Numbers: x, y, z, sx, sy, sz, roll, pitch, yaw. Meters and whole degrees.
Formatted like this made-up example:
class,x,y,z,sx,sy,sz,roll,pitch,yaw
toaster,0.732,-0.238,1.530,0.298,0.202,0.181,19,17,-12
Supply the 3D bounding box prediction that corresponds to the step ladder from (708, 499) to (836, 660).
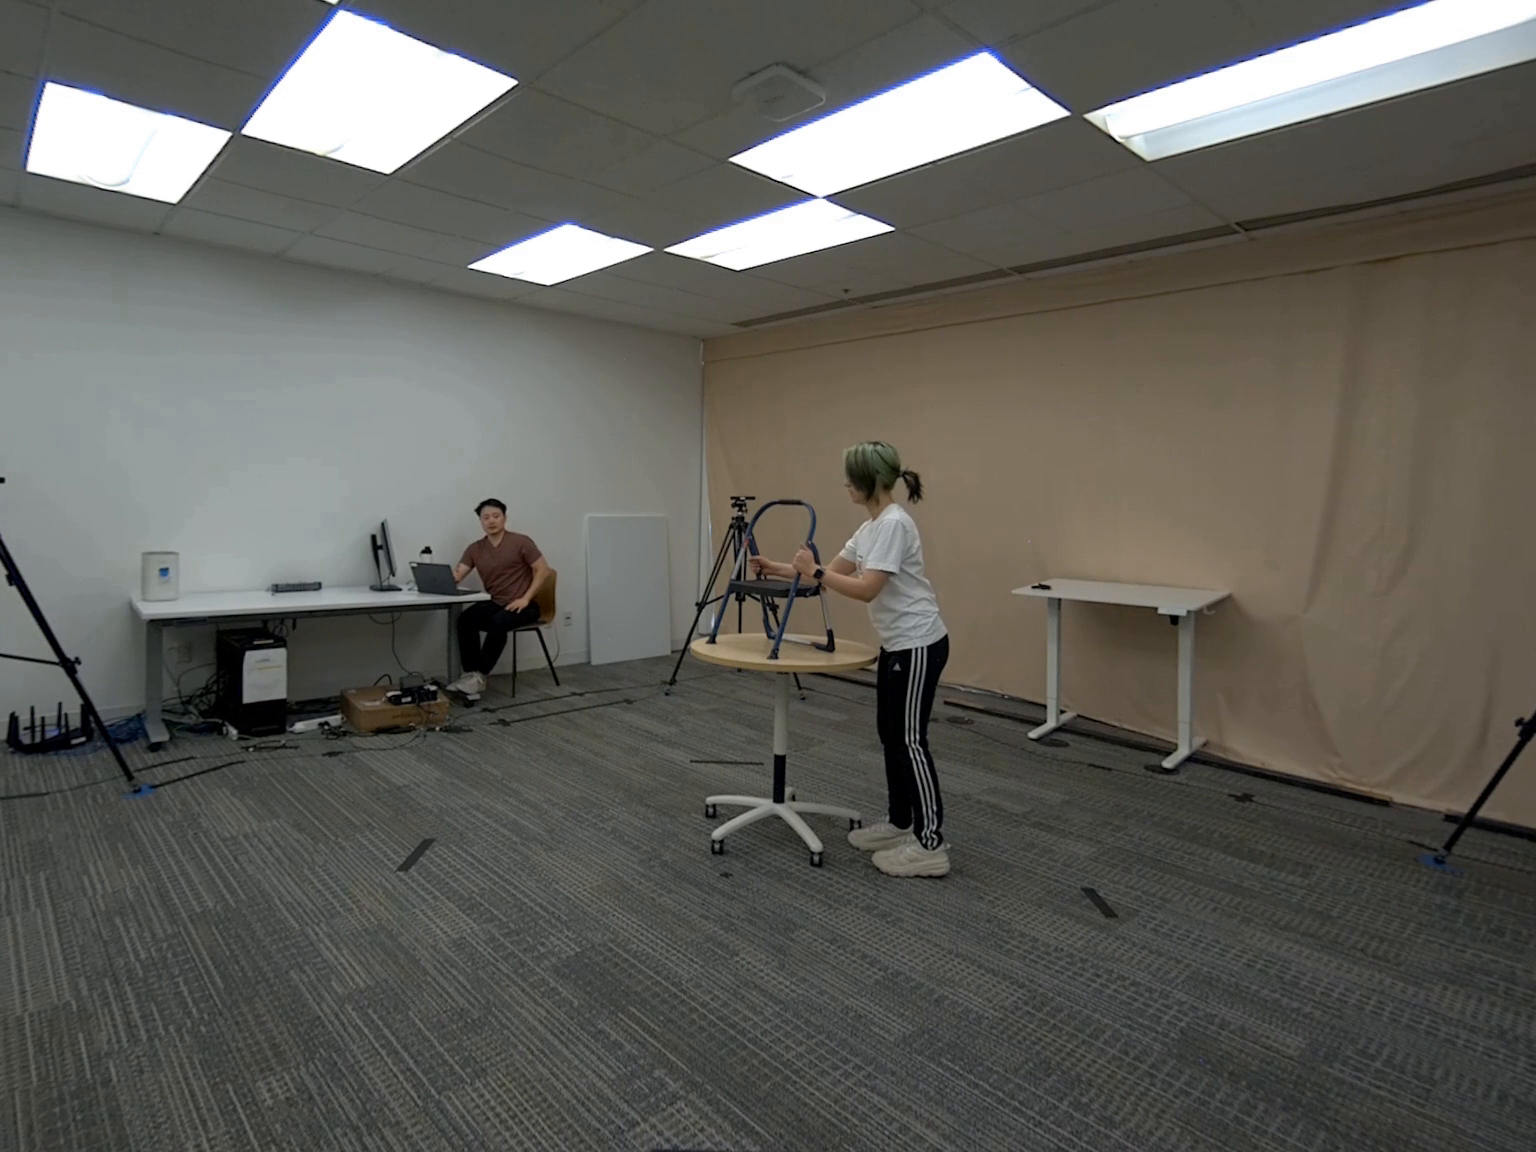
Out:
class,x,y,z,sx,sy,sz,roll,pitch,yaw
step ladder,0.014,-0.007,3.423,0.341,0.605,0.441,-1,4,-39
